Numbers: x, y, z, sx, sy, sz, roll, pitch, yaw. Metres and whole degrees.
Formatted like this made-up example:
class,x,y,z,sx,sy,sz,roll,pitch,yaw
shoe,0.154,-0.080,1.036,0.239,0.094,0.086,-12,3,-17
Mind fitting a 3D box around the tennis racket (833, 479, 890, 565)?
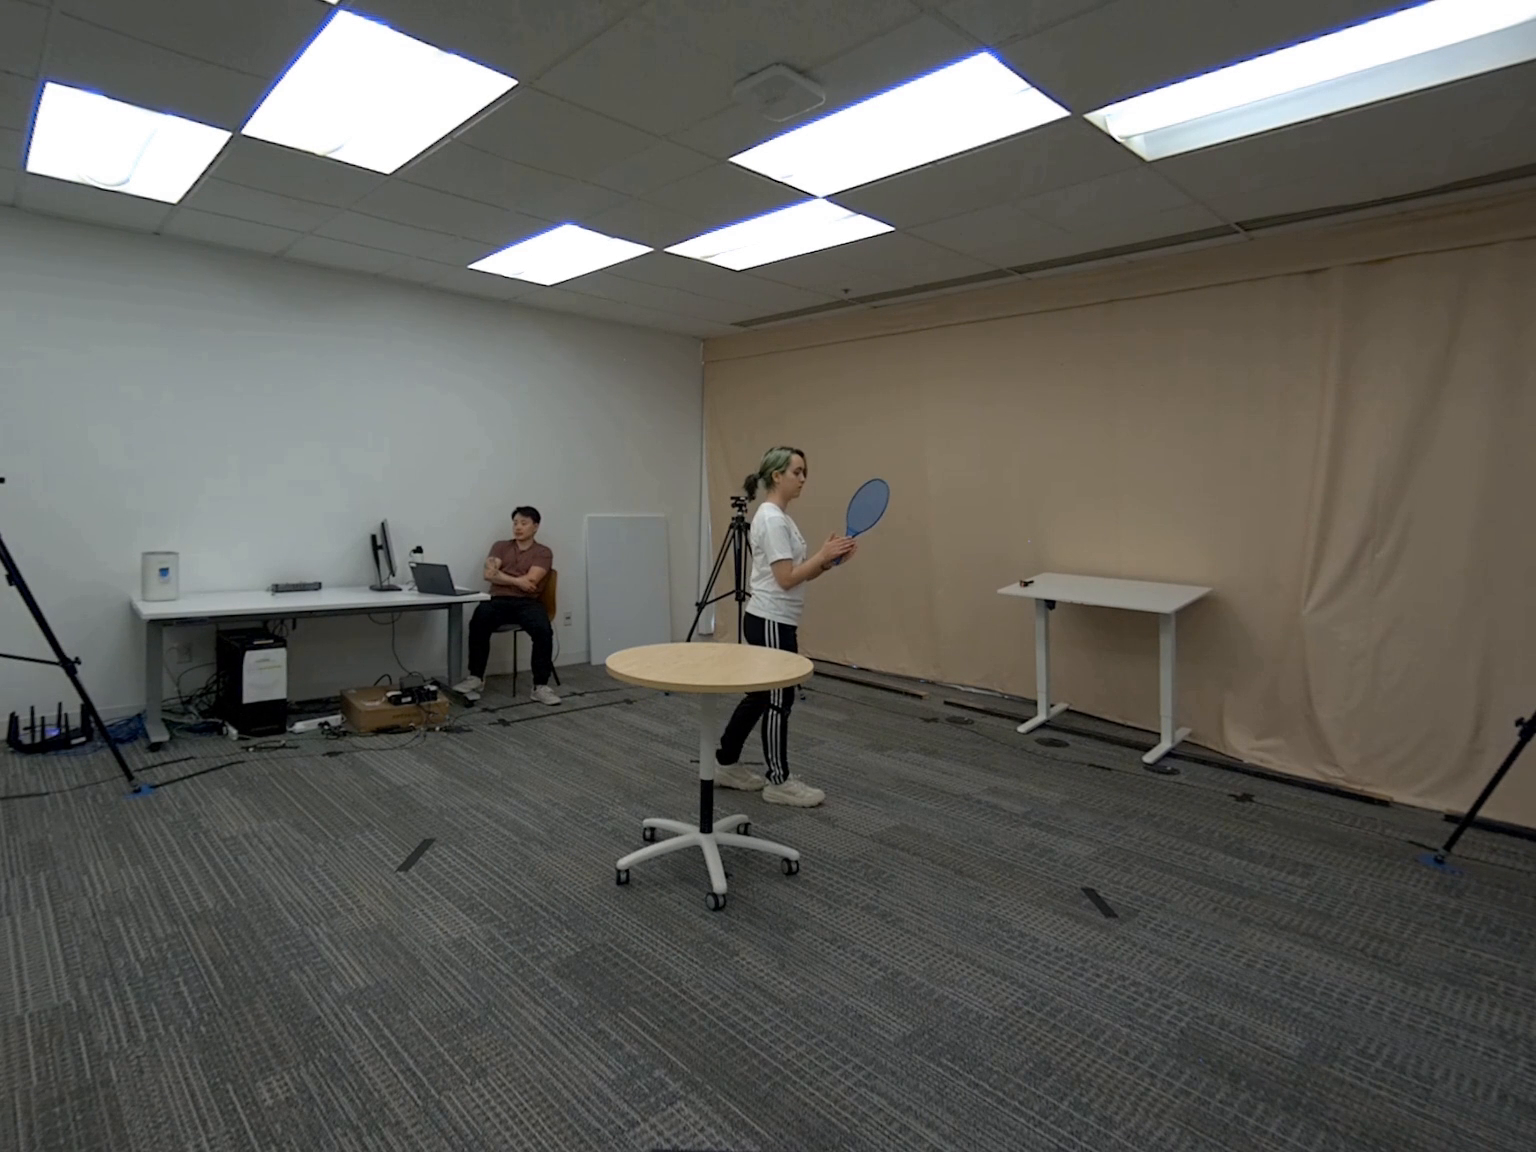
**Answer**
class,x,y,z,sx,sy,sz,roll,pitch,yaw
tennis racket,0.389,-0.244,3.801,0.031,0.432,0.220,25,10,-35
